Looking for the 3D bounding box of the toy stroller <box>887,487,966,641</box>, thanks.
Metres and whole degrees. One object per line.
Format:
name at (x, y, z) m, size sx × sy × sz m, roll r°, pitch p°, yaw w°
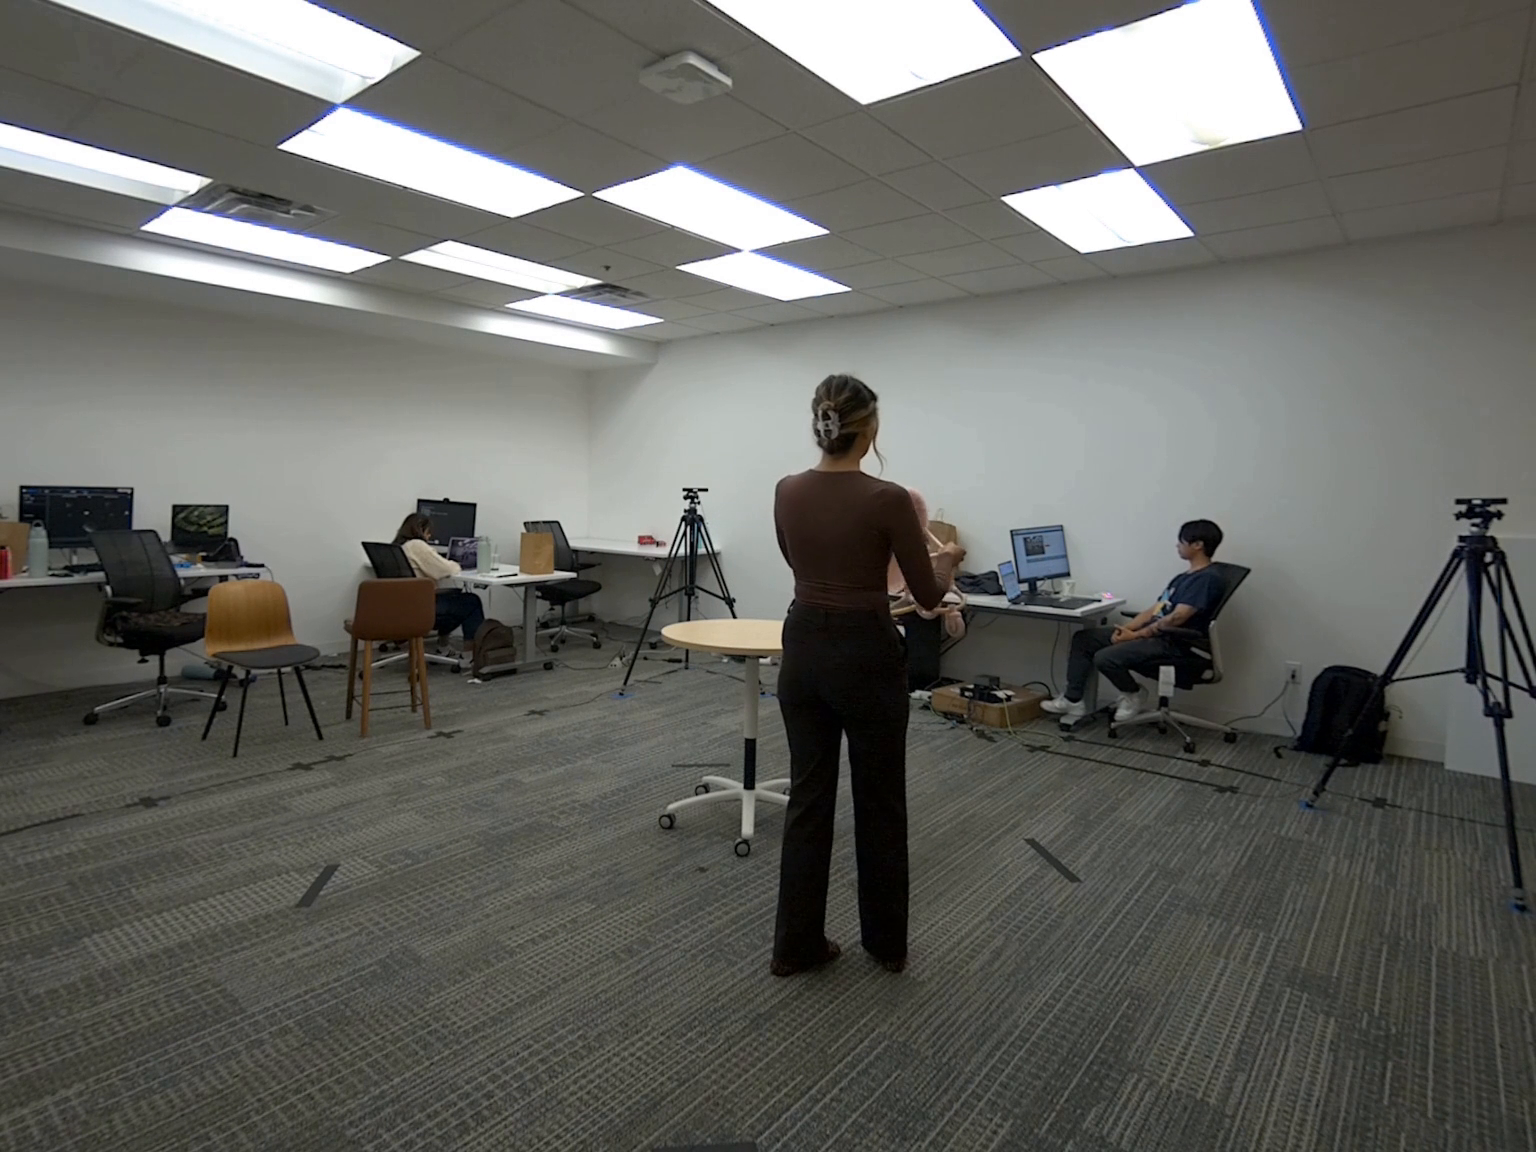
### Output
toy stroller at (0.456, -0.055, 2.785) m, size 0.275 × 0.539 × 0.346 m, roll -8°, pitch -6°, yaw -27°
